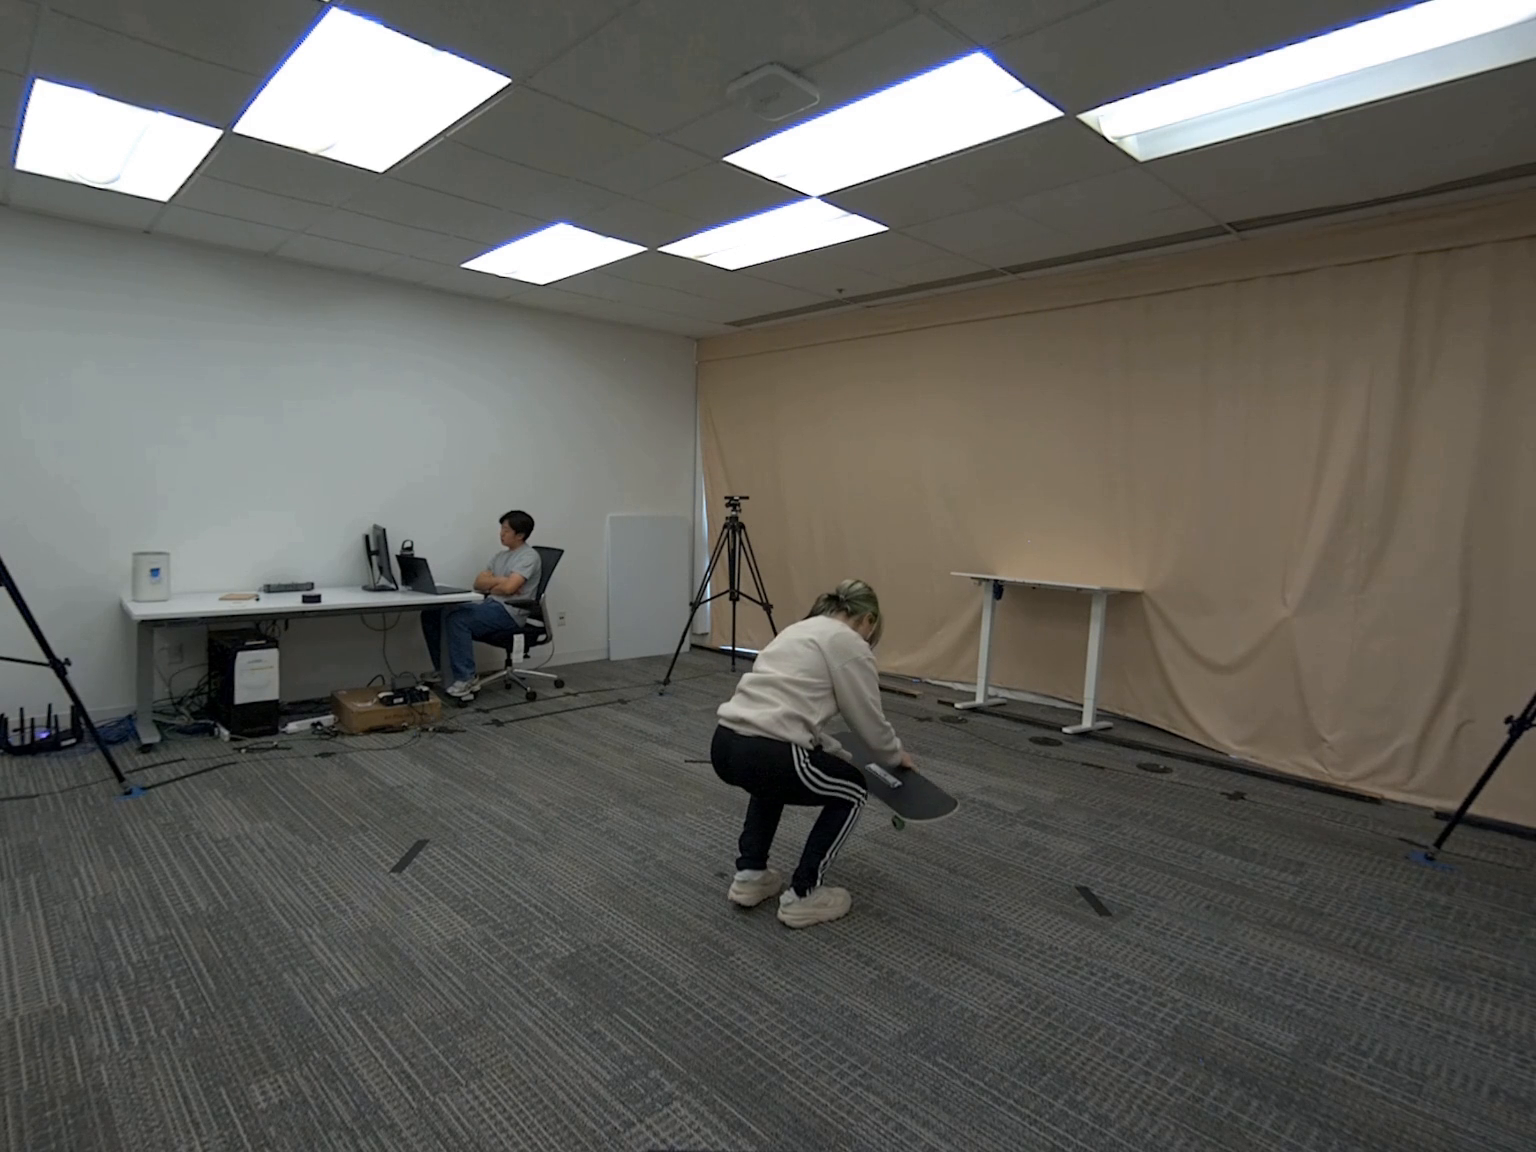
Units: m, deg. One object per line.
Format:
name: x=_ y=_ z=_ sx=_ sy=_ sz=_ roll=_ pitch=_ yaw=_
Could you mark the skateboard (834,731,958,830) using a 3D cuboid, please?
skateboard: x=0.409 y=0.746 z=3.011 sx=0.192 sy=0.109 sz=0.802 roll=-19 pitch=15 yaw=-19
